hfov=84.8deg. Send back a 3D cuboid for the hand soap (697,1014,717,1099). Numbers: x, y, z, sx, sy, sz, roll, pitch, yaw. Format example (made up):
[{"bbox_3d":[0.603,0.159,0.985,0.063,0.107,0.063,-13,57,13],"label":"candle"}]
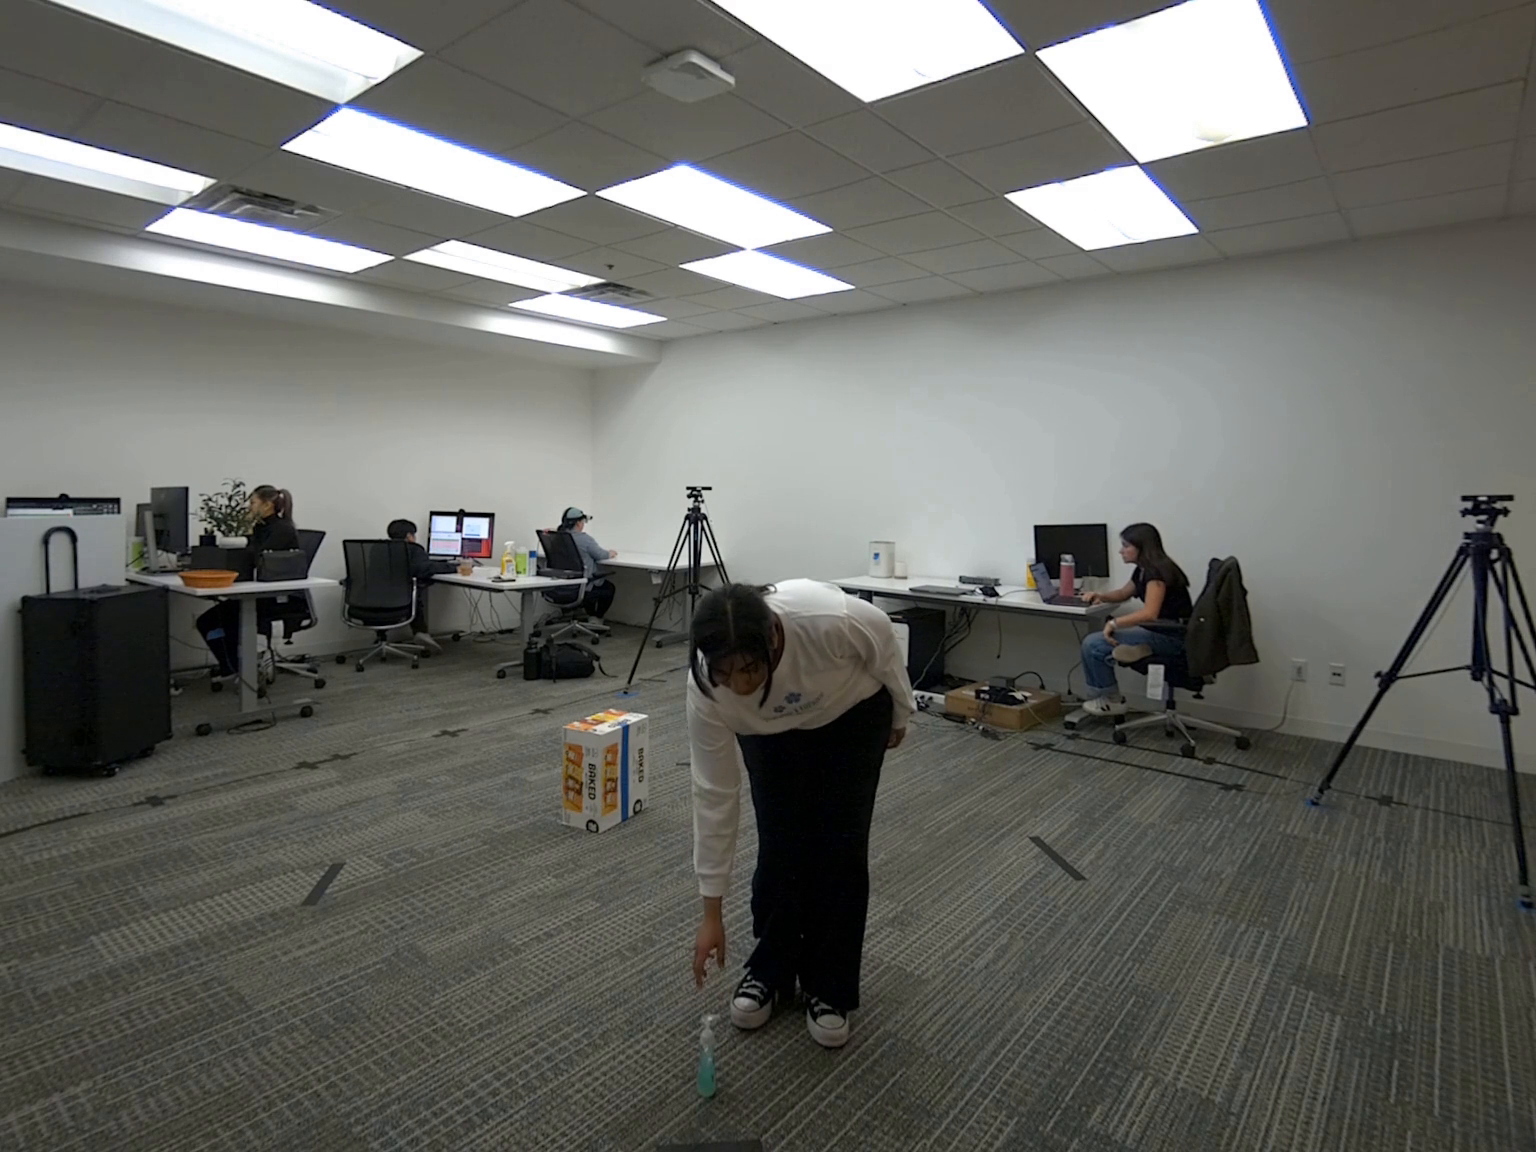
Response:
[{"bbox_3d":[-0.149,1.111,1.963,0.043,0.168,0.084,0,3,1],"label":"hand soap"}]
